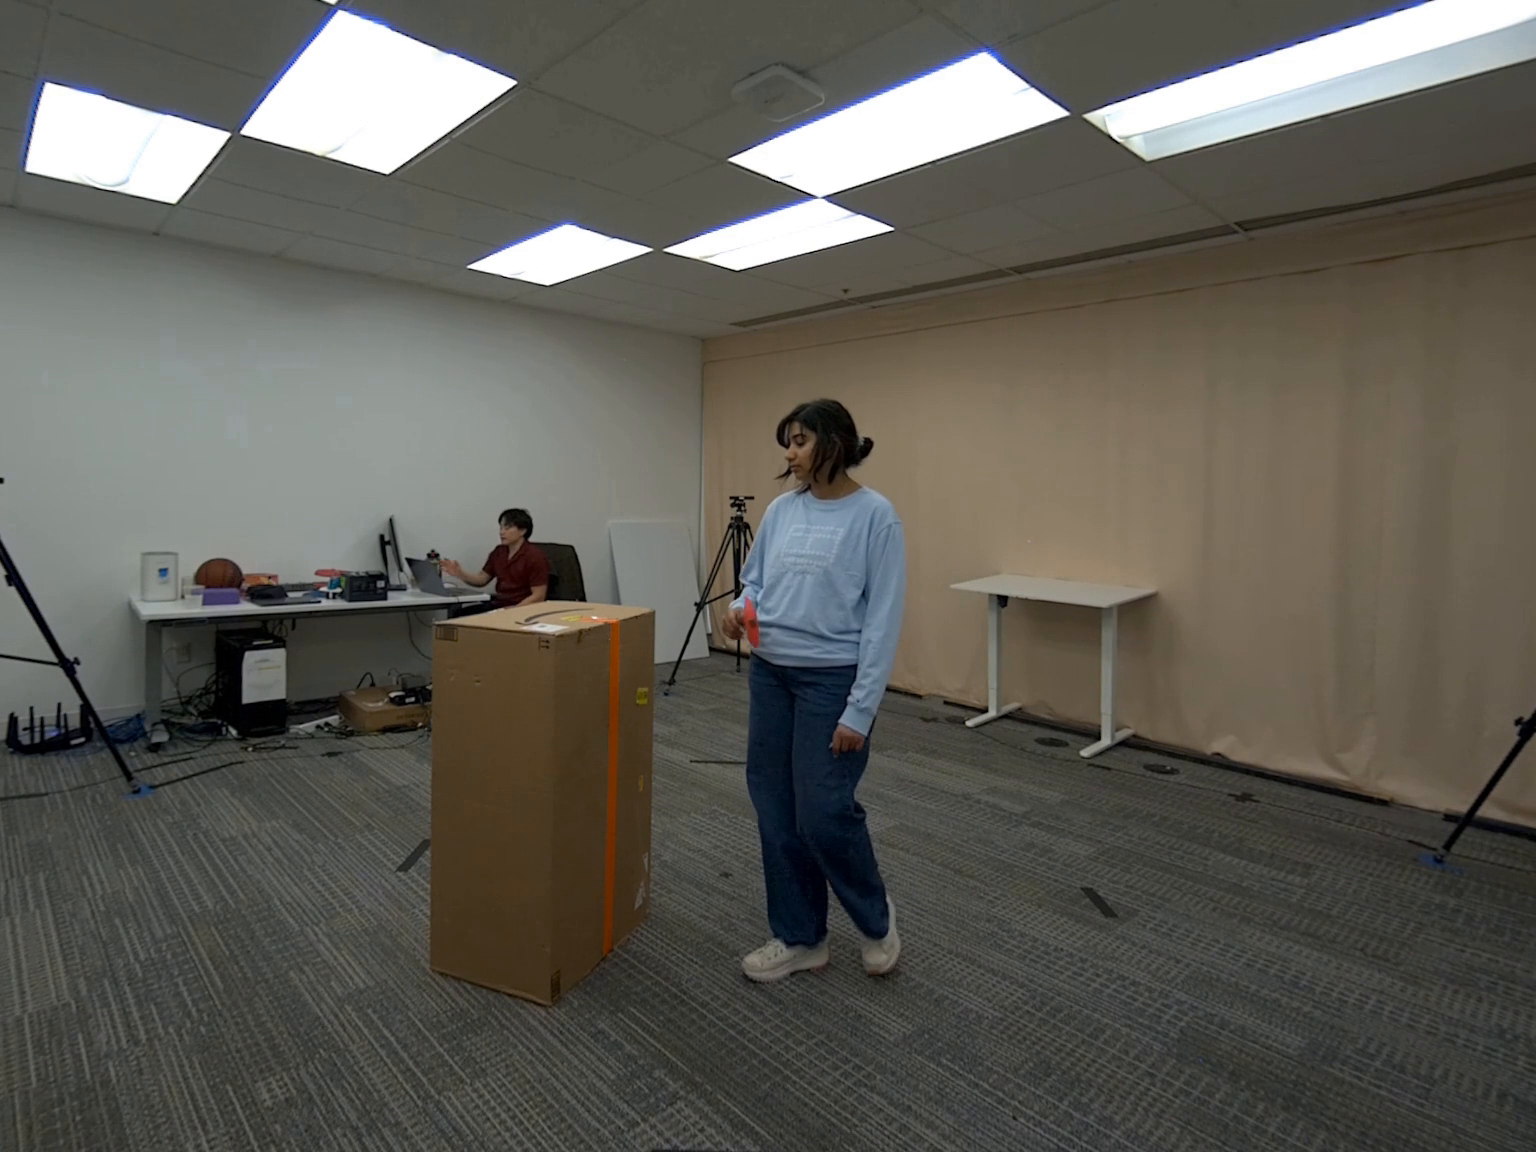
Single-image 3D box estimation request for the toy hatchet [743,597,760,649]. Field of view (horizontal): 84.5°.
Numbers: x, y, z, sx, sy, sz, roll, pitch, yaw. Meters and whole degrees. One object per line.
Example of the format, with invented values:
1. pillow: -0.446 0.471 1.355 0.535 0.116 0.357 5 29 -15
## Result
1. toy hatchet: -0.058 0.149 2.278 0.029 0.133 0.268 -14 -14 -11
